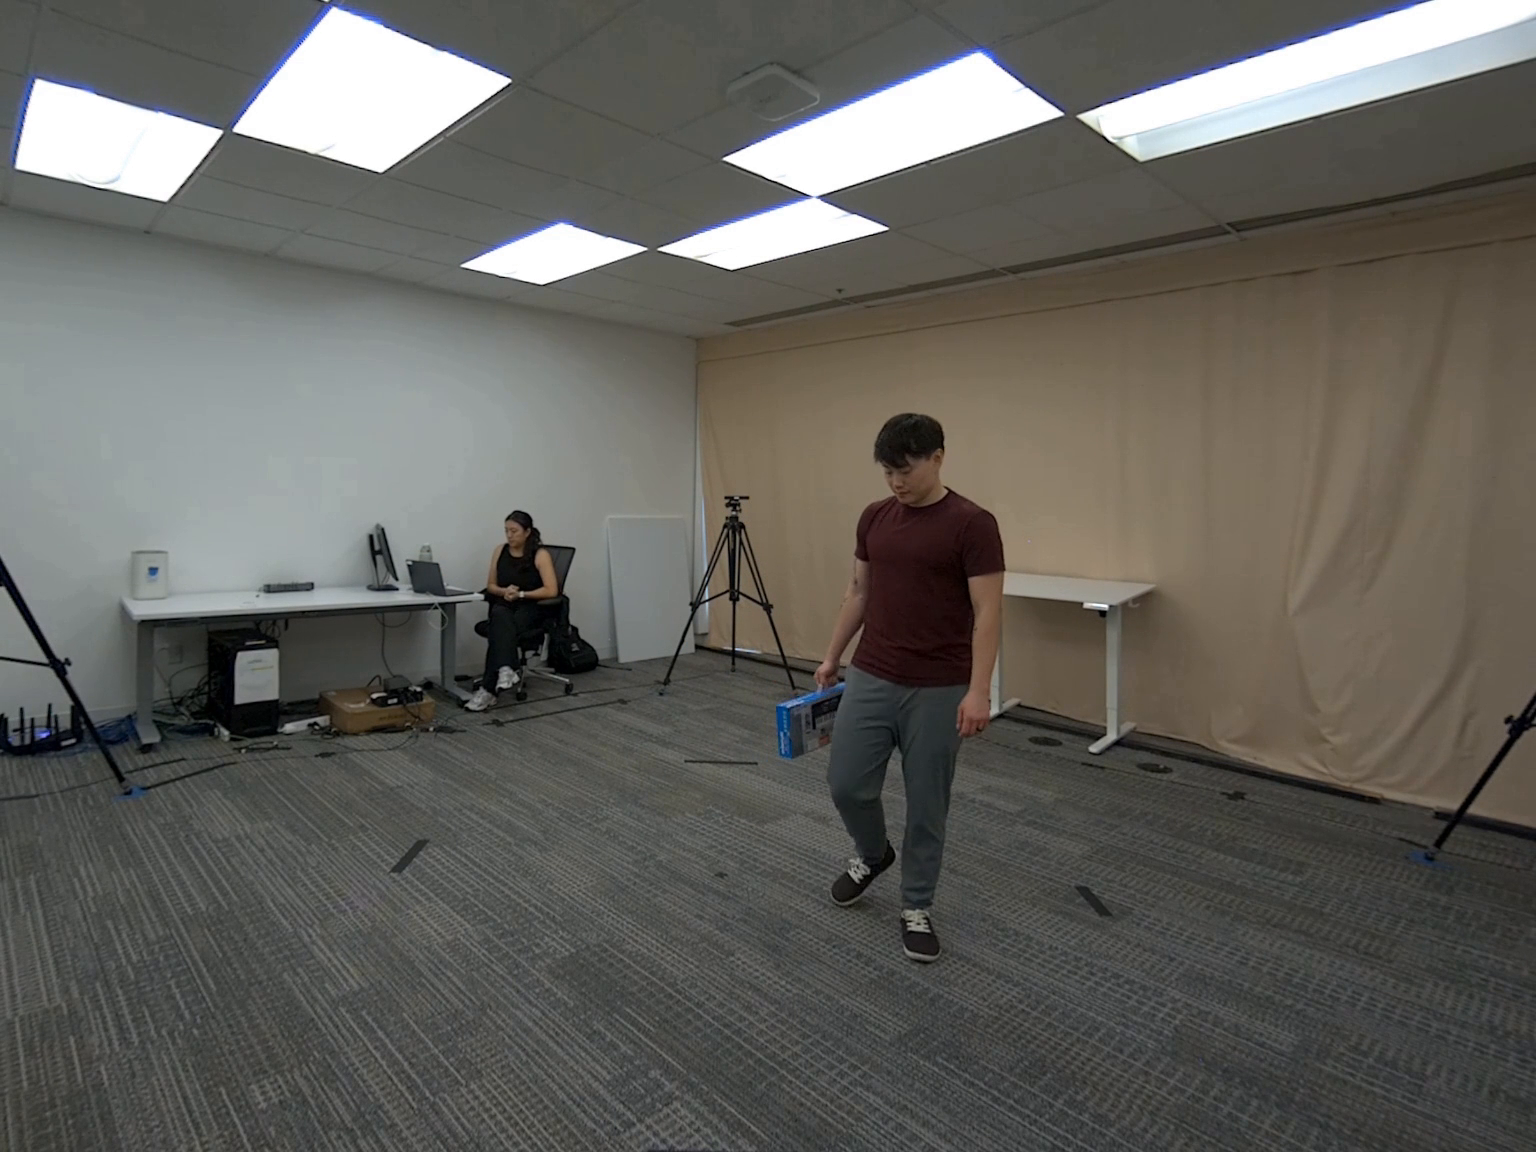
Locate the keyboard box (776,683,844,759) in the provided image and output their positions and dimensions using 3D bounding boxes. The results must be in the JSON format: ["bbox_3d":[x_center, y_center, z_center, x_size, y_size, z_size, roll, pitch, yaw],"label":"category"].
[{"bbox_3d":[0.202,0.478,2.866,0.428,0.175,0.060,-11,9,-42],"label":"keyboard box"}]
